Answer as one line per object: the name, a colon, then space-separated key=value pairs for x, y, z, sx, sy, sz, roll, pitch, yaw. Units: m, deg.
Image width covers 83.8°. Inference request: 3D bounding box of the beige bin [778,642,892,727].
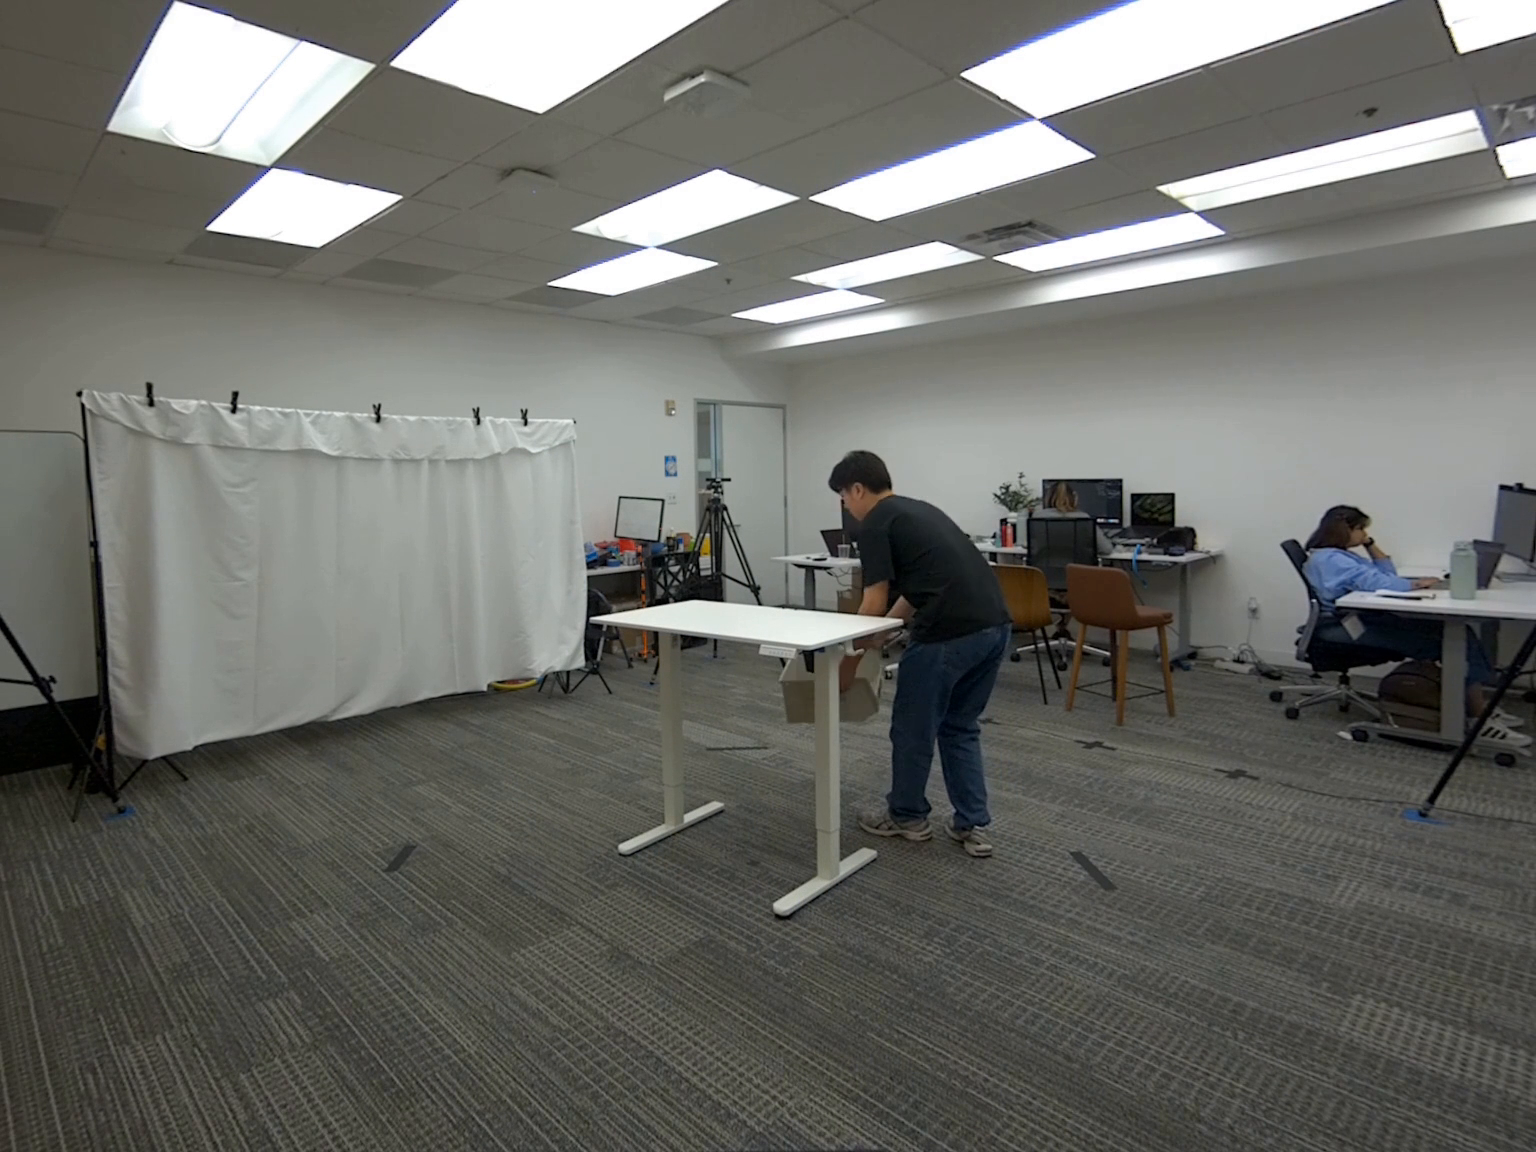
beige bin: x=0.282 y=0.437 z=3.509 sx=0.383 sy=0.187 sz=0.420 roll=-6 pitch=11 yaw=16
